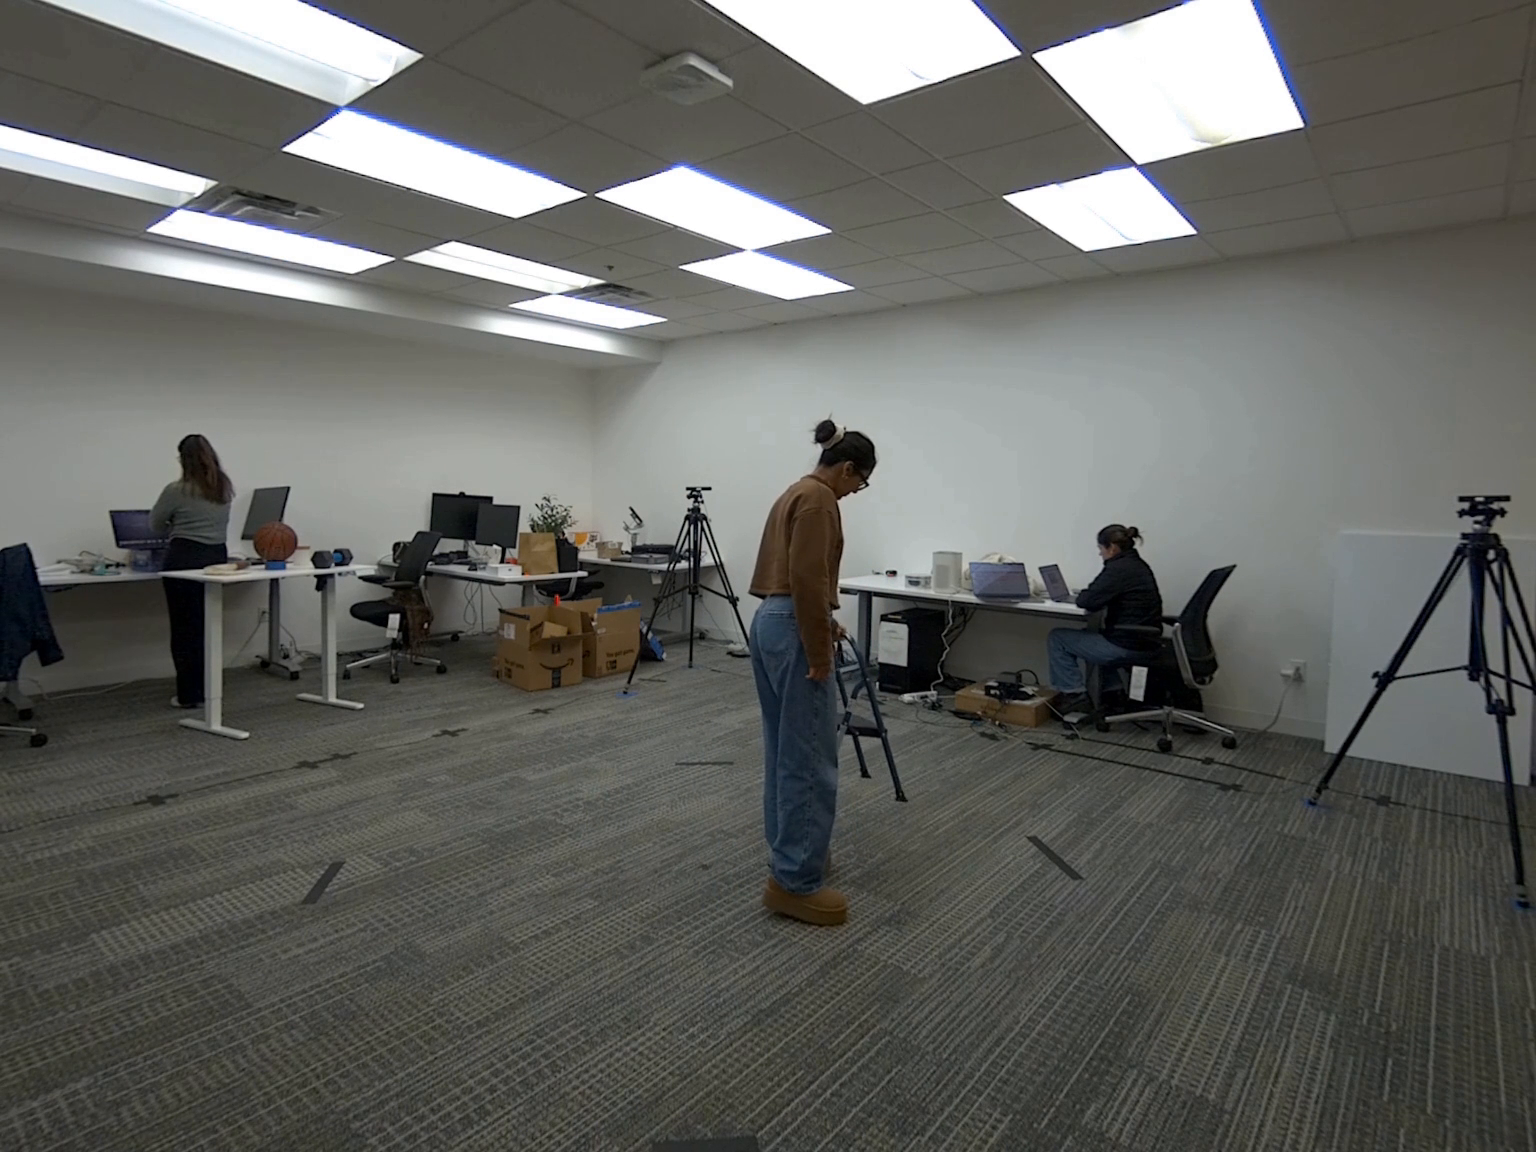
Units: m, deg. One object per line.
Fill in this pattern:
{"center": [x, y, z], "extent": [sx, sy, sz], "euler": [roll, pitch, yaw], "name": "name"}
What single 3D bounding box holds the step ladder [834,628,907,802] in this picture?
{"center": [0.323, 0.529, 3.392], "extent": [0.344, 0.608, 0.435], "euler": [6, -4, -13], "name": "step ladder"}
